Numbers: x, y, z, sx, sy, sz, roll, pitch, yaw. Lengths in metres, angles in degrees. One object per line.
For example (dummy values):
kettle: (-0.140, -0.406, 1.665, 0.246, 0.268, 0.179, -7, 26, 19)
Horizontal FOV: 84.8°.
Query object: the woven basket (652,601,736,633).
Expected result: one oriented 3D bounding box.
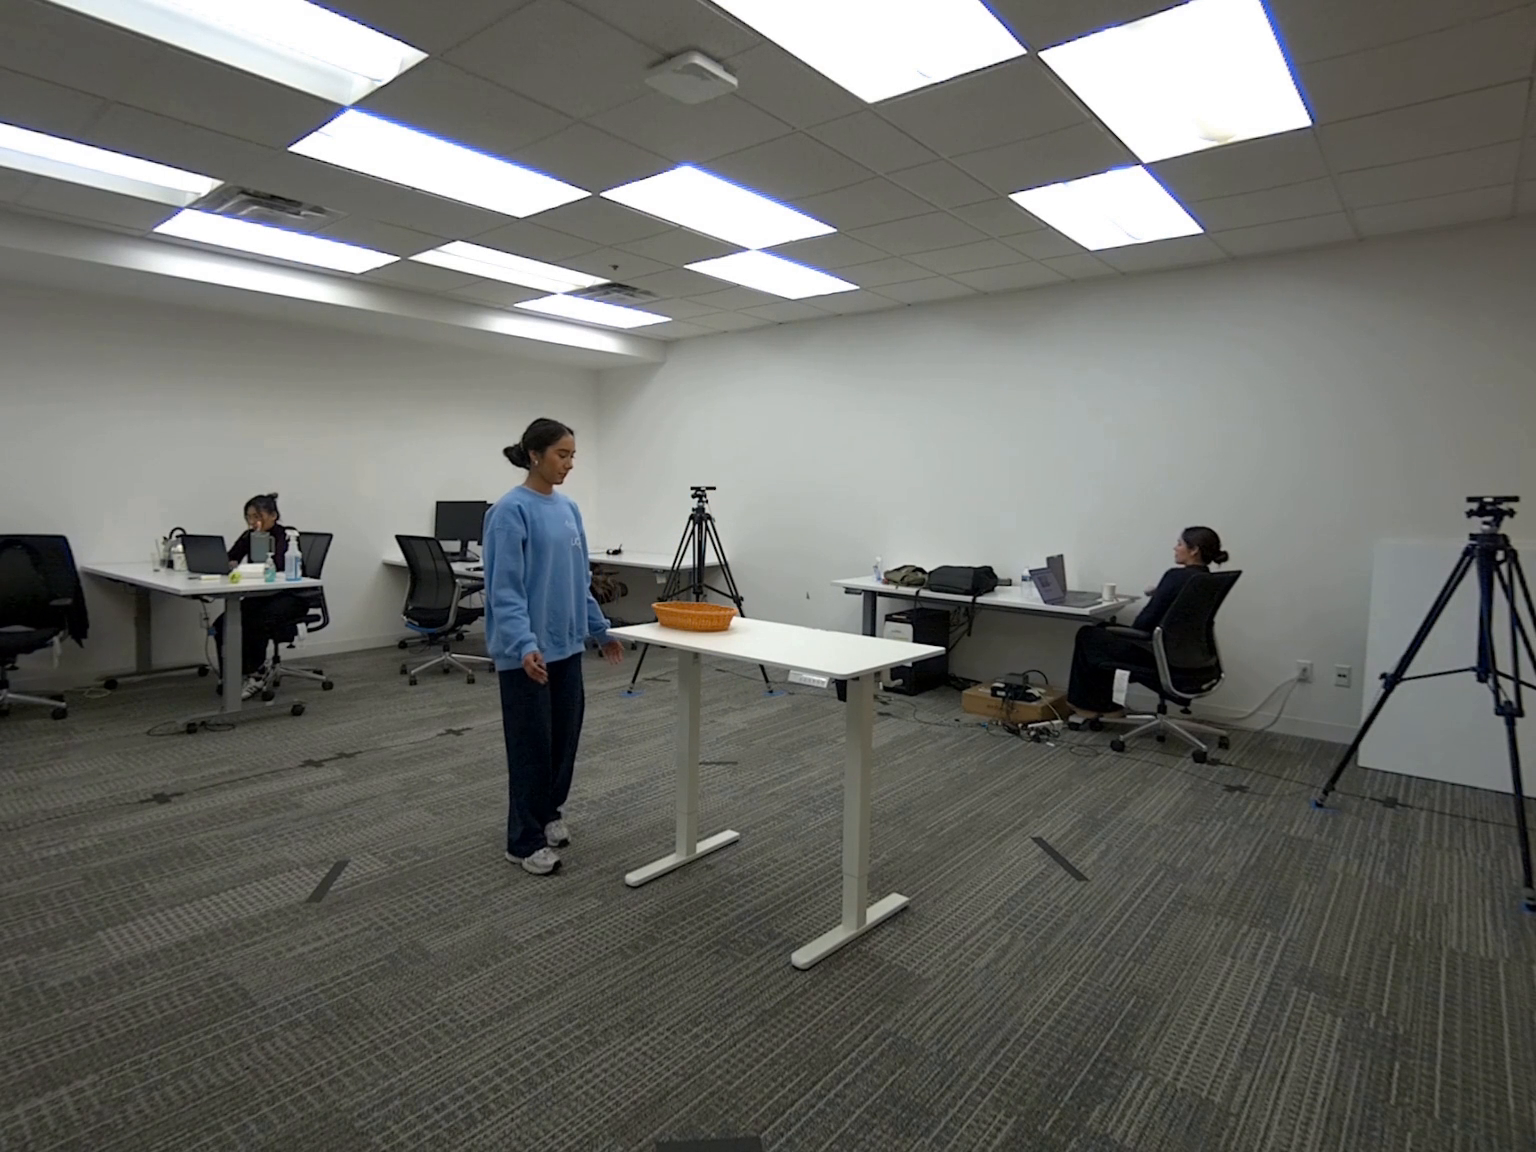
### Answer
woven basket: (-0.290, 0.154, 3.106, 0.362, 0.073, 0.244, 5, 4, 41)
